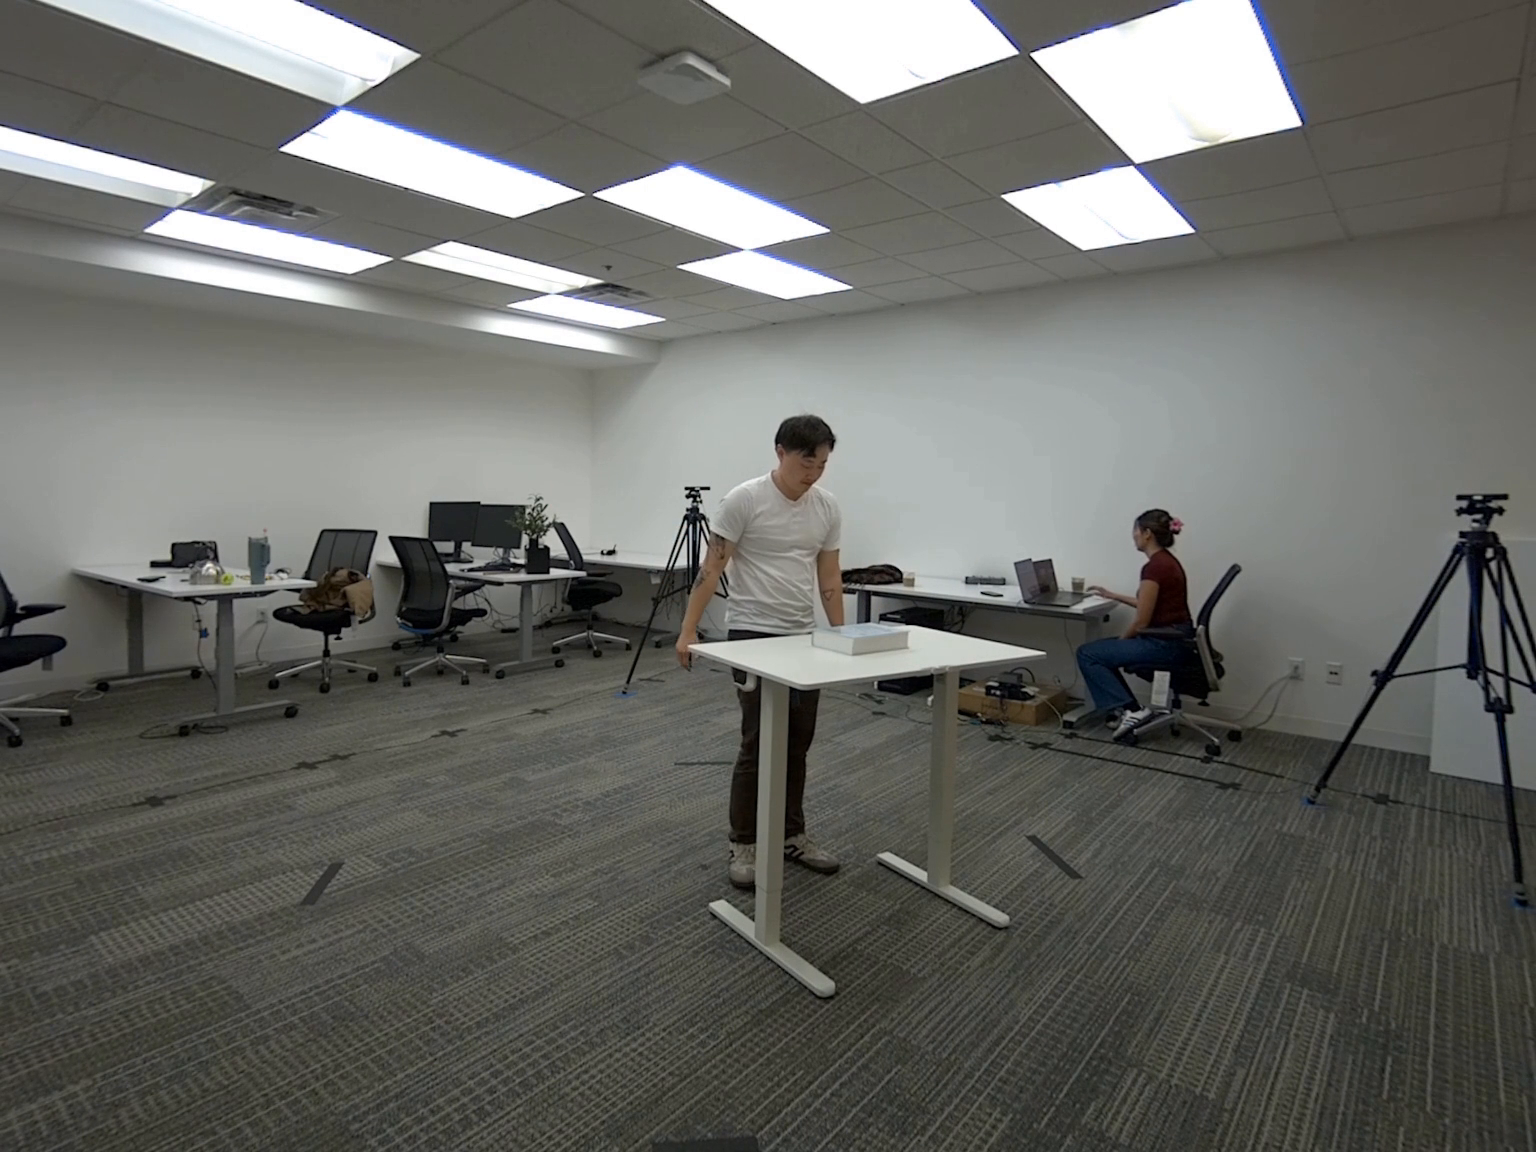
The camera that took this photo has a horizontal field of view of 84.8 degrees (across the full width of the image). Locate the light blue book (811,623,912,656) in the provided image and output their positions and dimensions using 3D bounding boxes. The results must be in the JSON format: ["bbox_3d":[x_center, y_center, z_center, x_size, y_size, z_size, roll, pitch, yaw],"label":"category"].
[{"bbox_3d":[0.309,0.200,2.759,0.253,0.059,0.198,-4,7,-38],"label":"light blue book"}]
